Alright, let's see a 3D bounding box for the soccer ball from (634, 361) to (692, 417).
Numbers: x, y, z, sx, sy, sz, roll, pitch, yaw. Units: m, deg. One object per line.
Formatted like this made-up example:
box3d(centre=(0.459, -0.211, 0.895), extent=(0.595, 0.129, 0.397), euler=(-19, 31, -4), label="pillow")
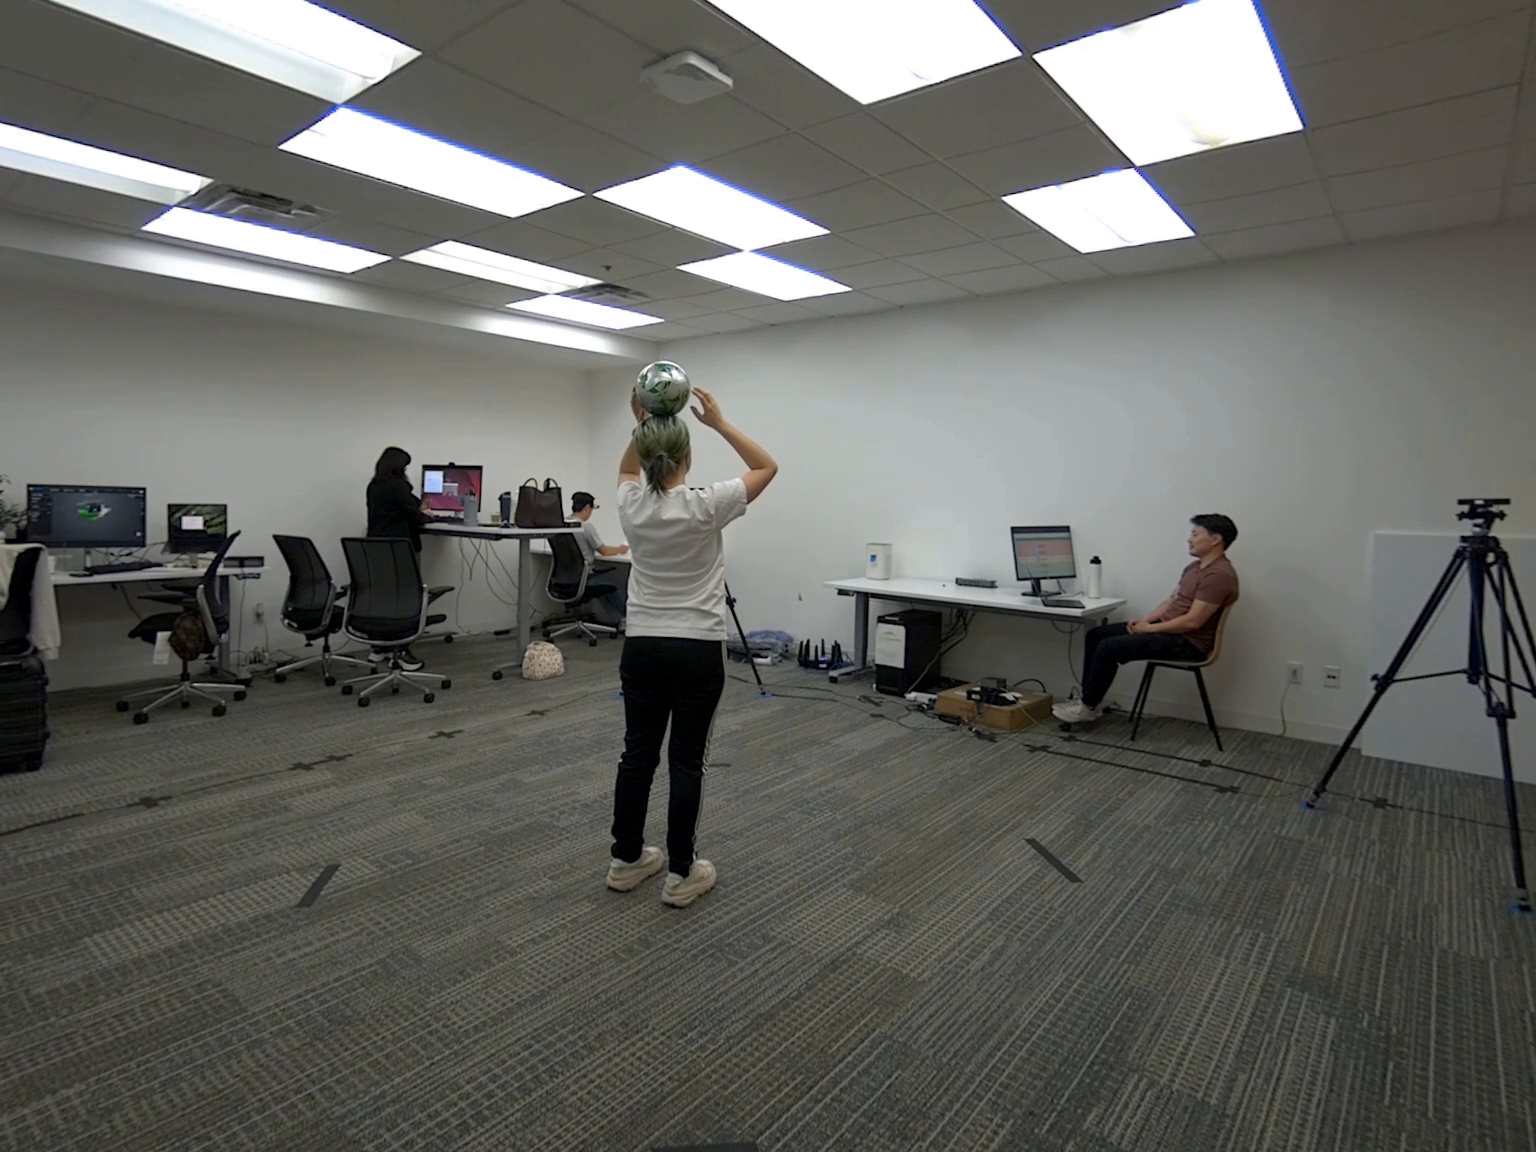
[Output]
box3d(centre=(-0.369, -0.638, 2.891), extent=(0.187, 0.187, 0.188), euler=(1, 4, -2), label="soccer ball")
